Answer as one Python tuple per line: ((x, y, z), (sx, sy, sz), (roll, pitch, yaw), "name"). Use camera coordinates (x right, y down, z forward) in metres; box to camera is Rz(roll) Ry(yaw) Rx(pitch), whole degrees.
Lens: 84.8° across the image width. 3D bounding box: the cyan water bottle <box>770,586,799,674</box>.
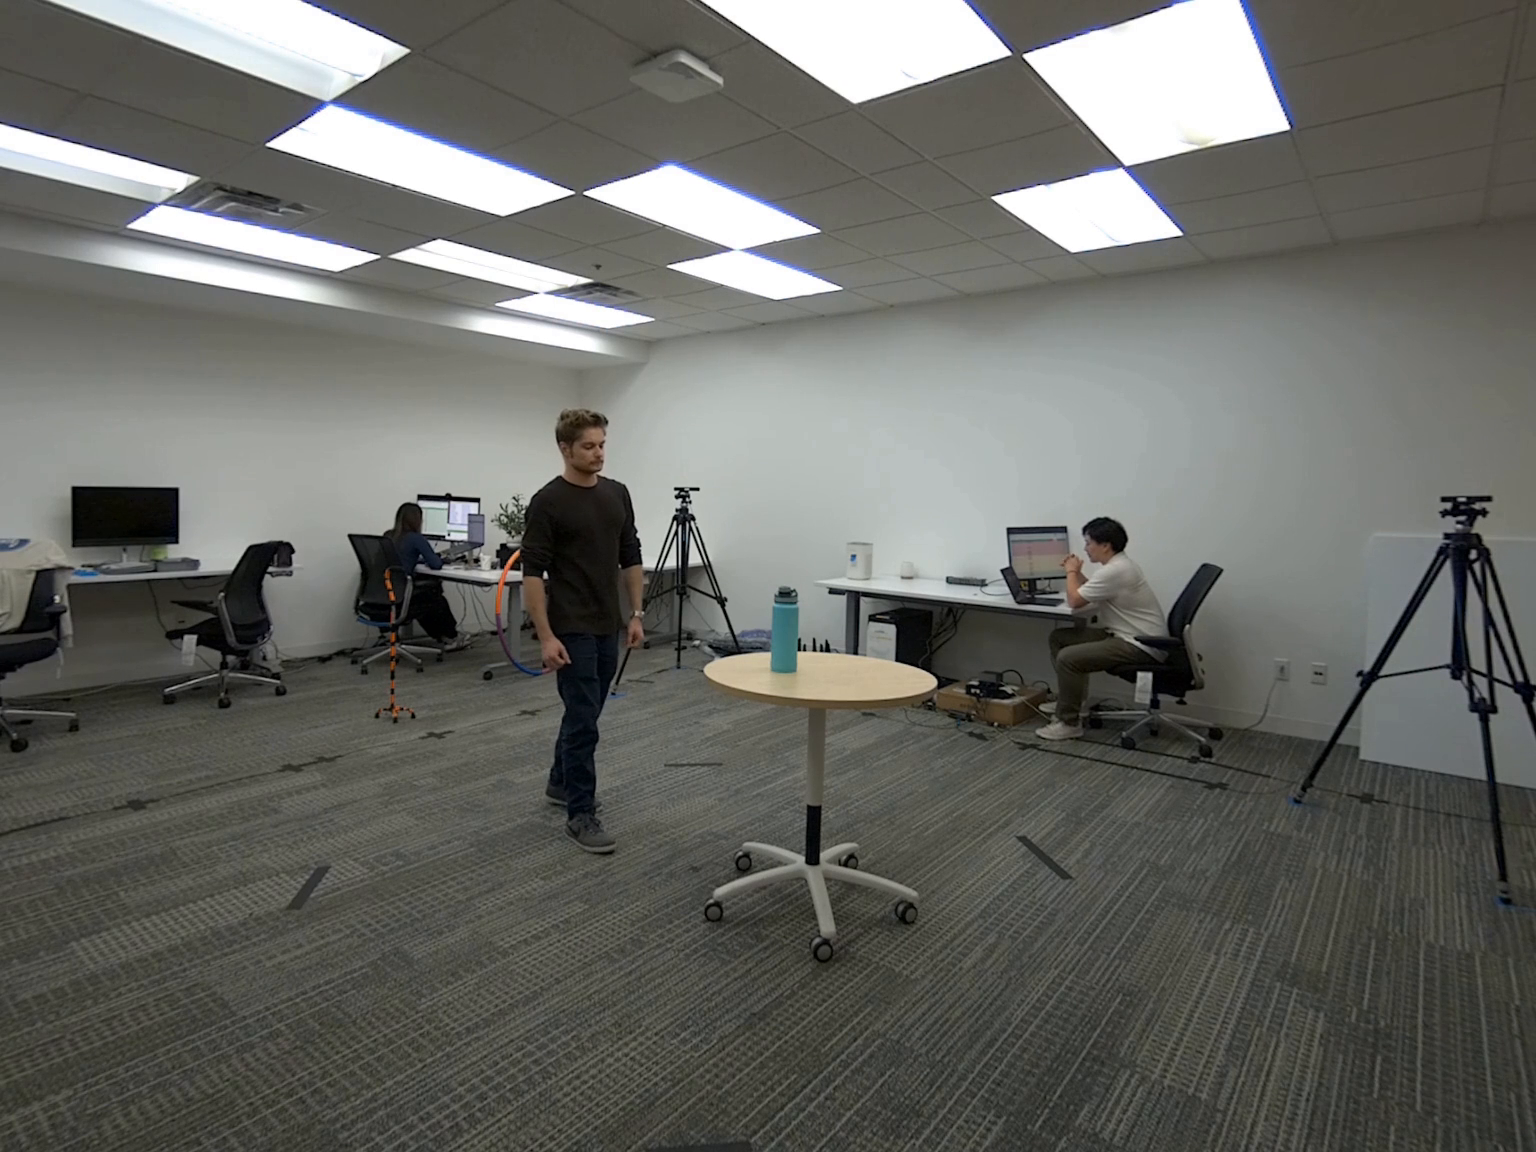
((0.057, 0.175, 2.850), (0.092, 0.283, 0.093), (3, 3, -2), "cyan water bottle")
